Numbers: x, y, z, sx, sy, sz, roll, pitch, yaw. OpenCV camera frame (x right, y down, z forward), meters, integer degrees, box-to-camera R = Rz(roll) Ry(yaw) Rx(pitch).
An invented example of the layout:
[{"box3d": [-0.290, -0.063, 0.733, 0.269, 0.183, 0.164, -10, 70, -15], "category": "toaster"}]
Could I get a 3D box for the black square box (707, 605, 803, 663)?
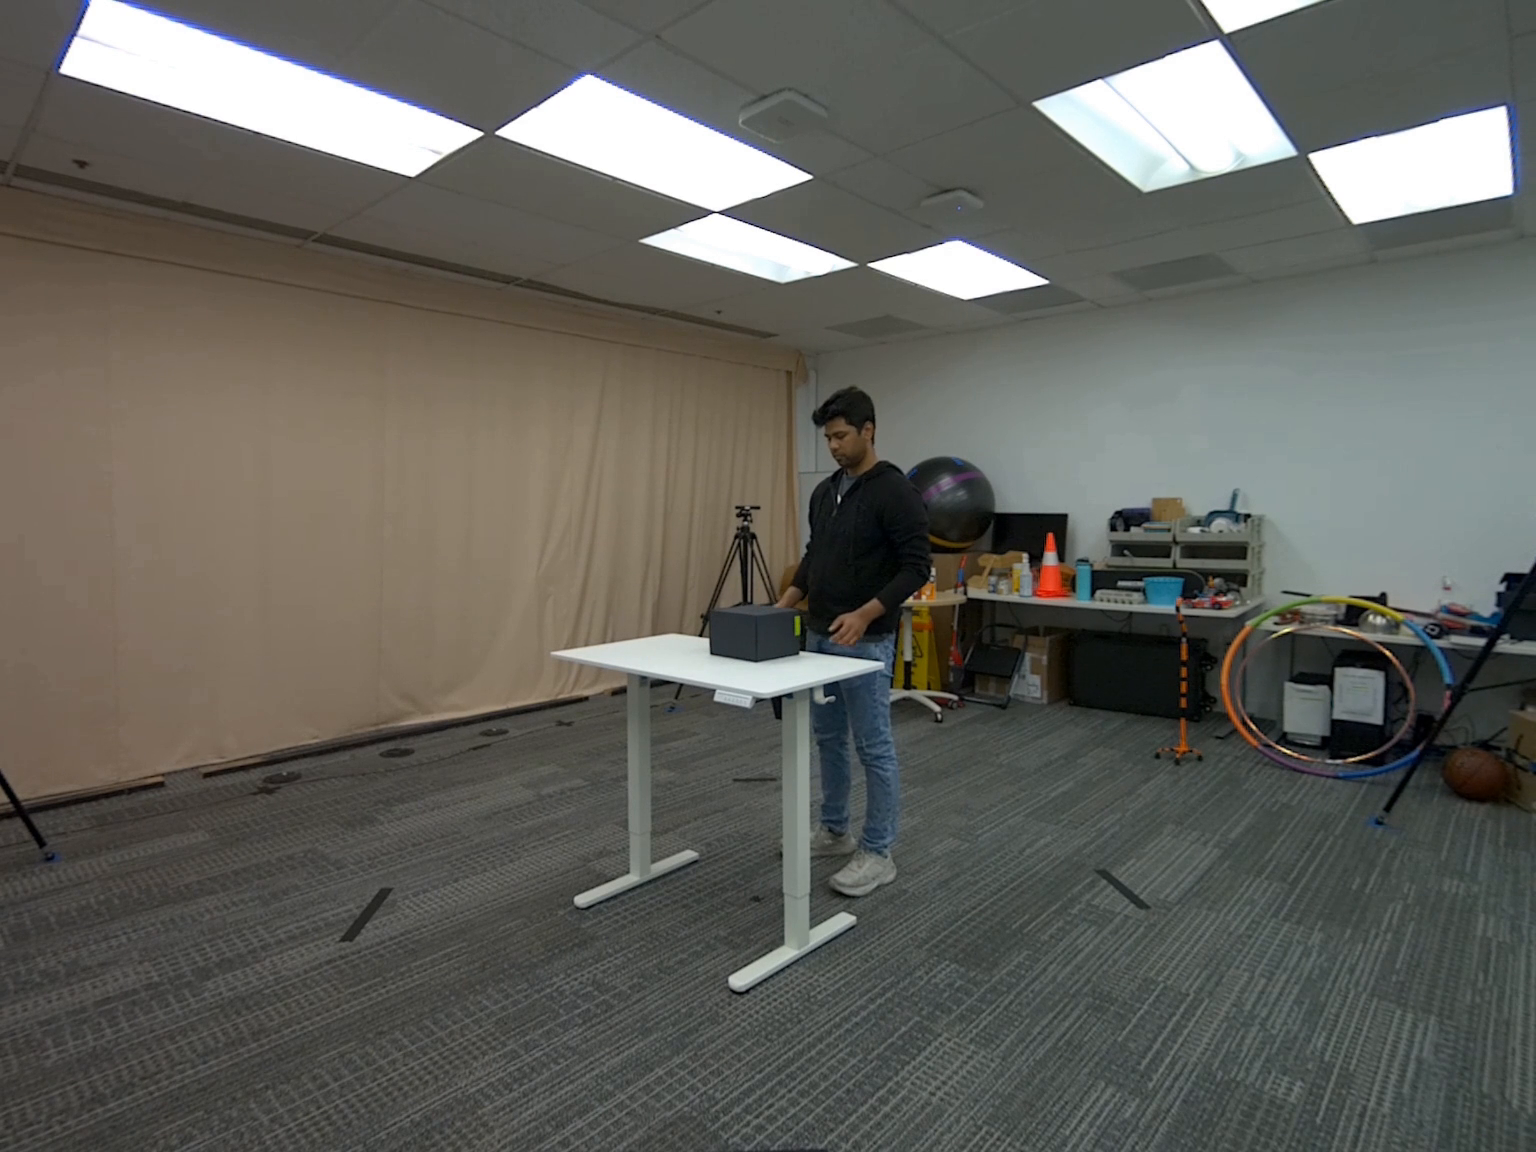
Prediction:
[{"box3d": [-0.052, 0.194, 2.873, 0.235, 0.155, 0.210, 3, 5, 45], "category": "black square box"}]
